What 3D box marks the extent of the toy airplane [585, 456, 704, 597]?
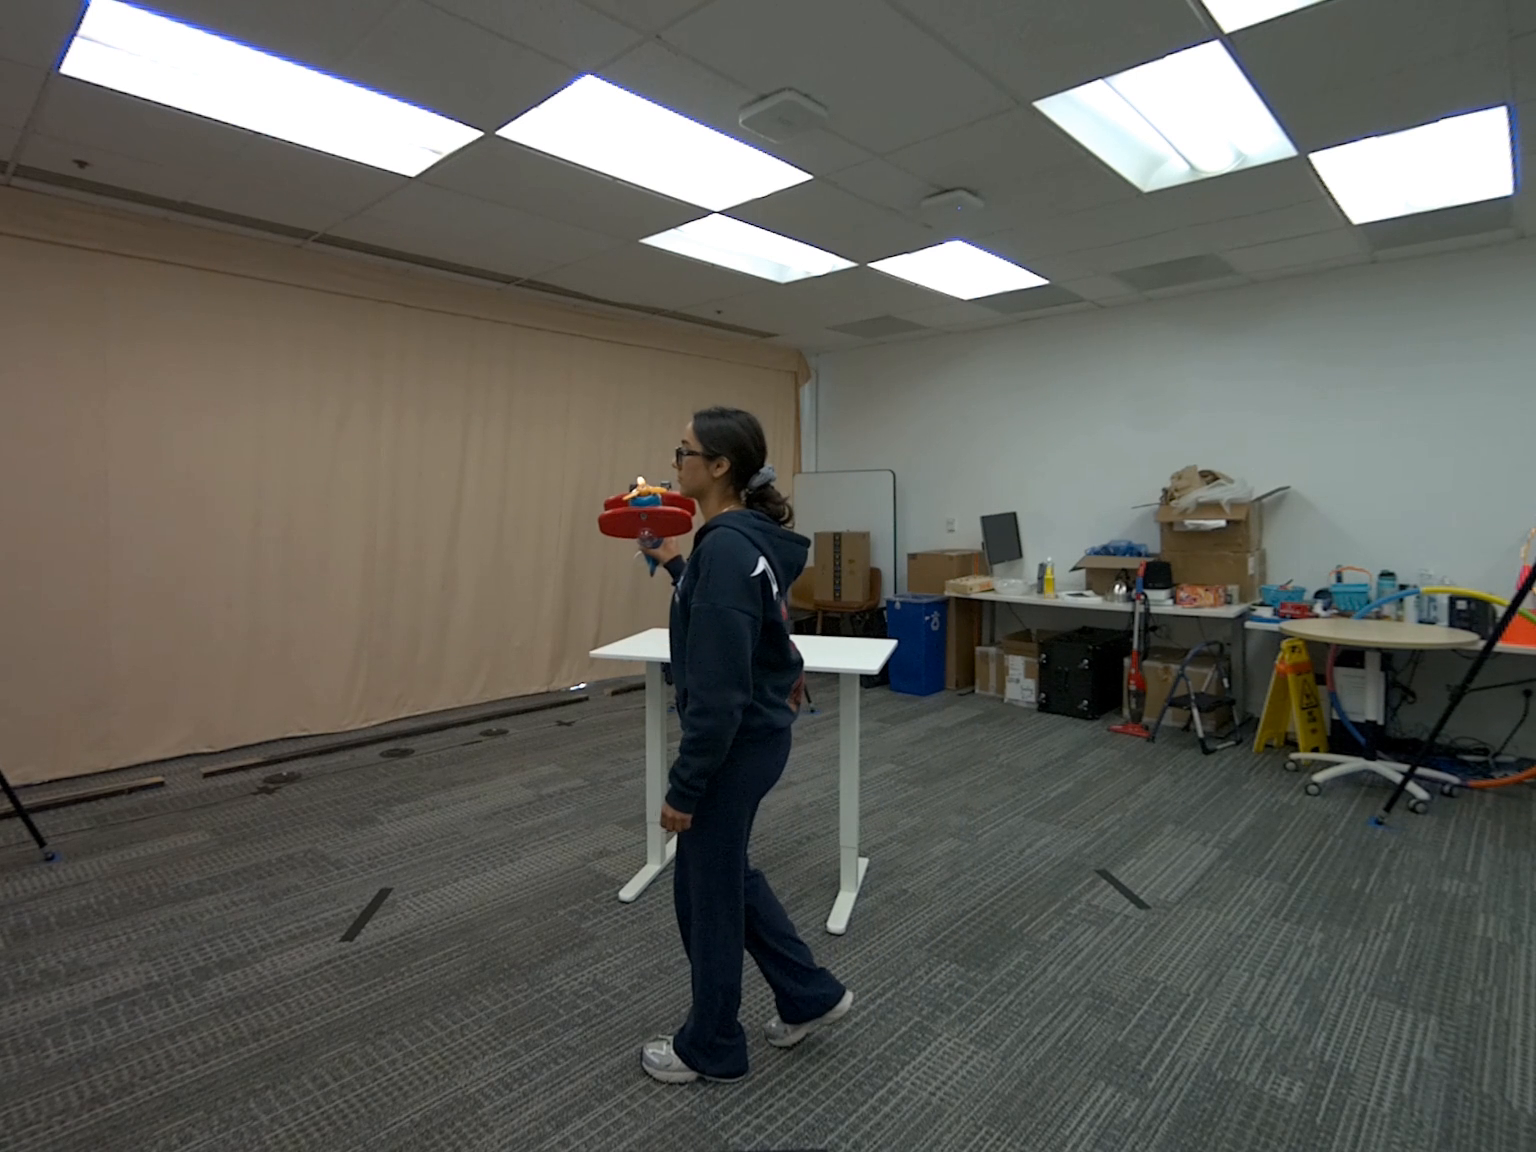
[{"bbox_3d":[-0.303,-0.135,2.301,0.254,0.255,0.157,-28,15,18],"label":"toy airplane"}]
